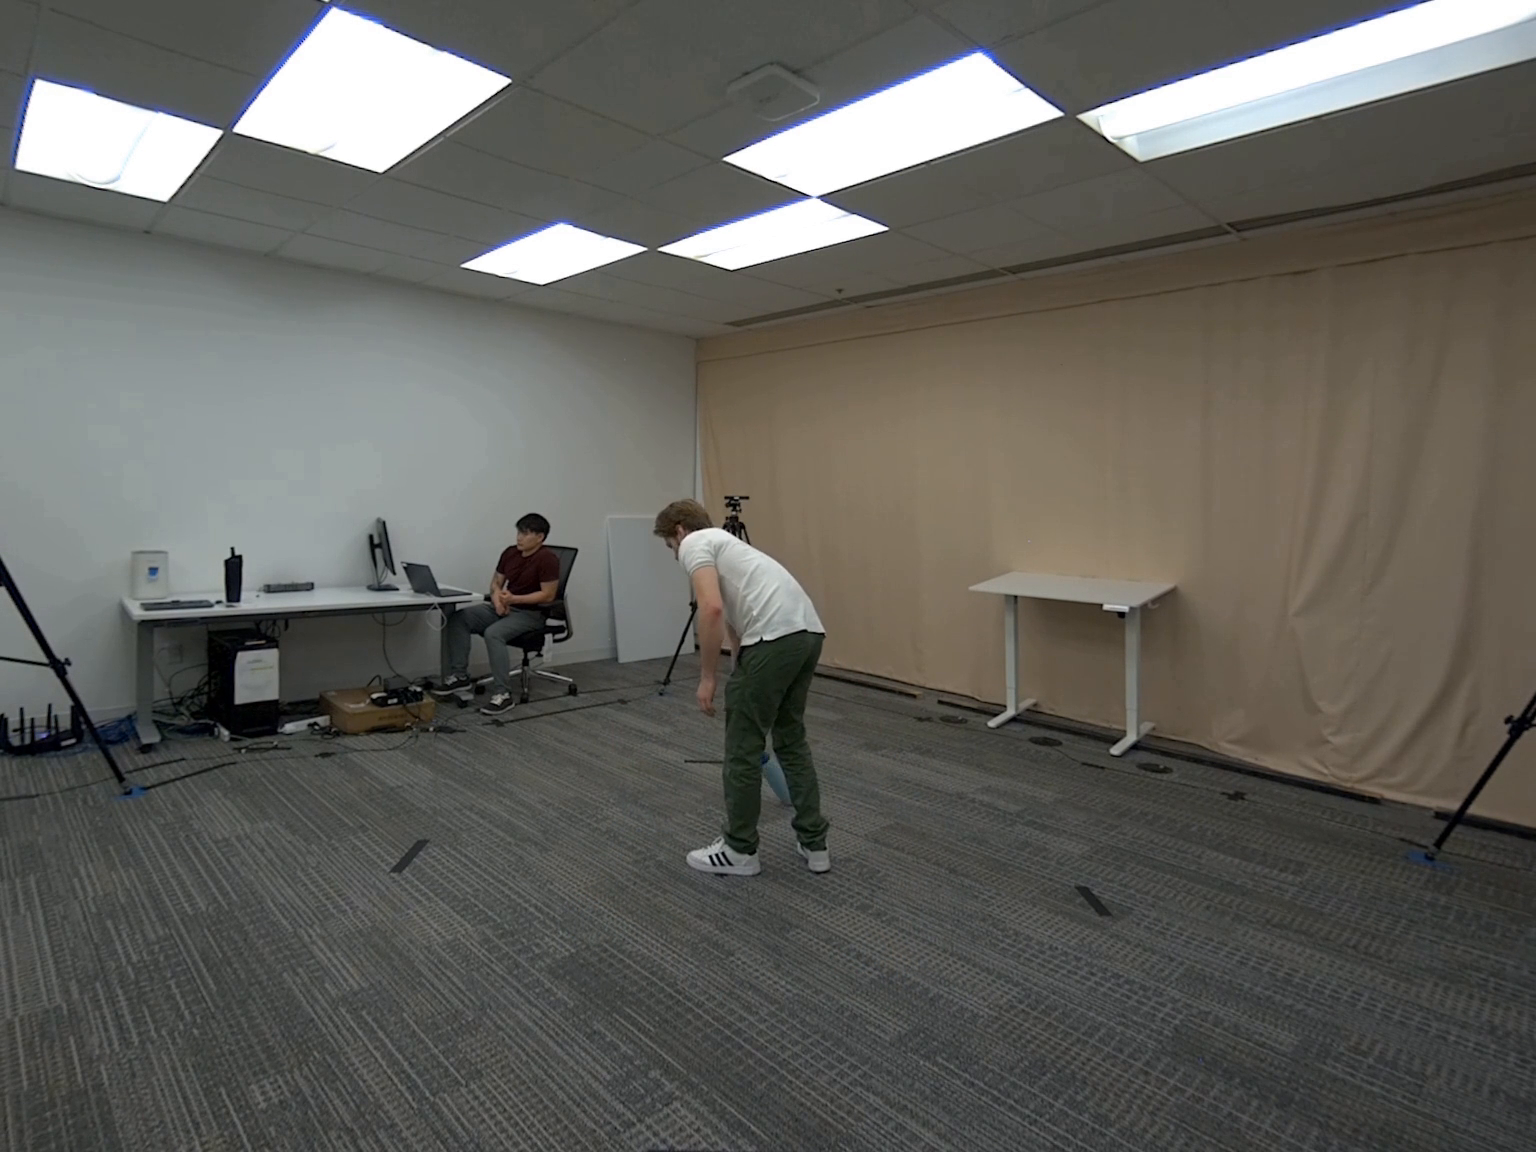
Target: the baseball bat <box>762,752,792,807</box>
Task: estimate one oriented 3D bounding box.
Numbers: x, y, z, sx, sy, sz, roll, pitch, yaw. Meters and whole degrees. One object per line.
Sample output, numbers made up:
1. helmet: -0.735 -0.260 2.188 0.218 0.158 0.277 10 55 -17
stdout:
1. baseball bat: -0.035 0.821 3.789 0.089 0.533 0.090 -28 17 9
